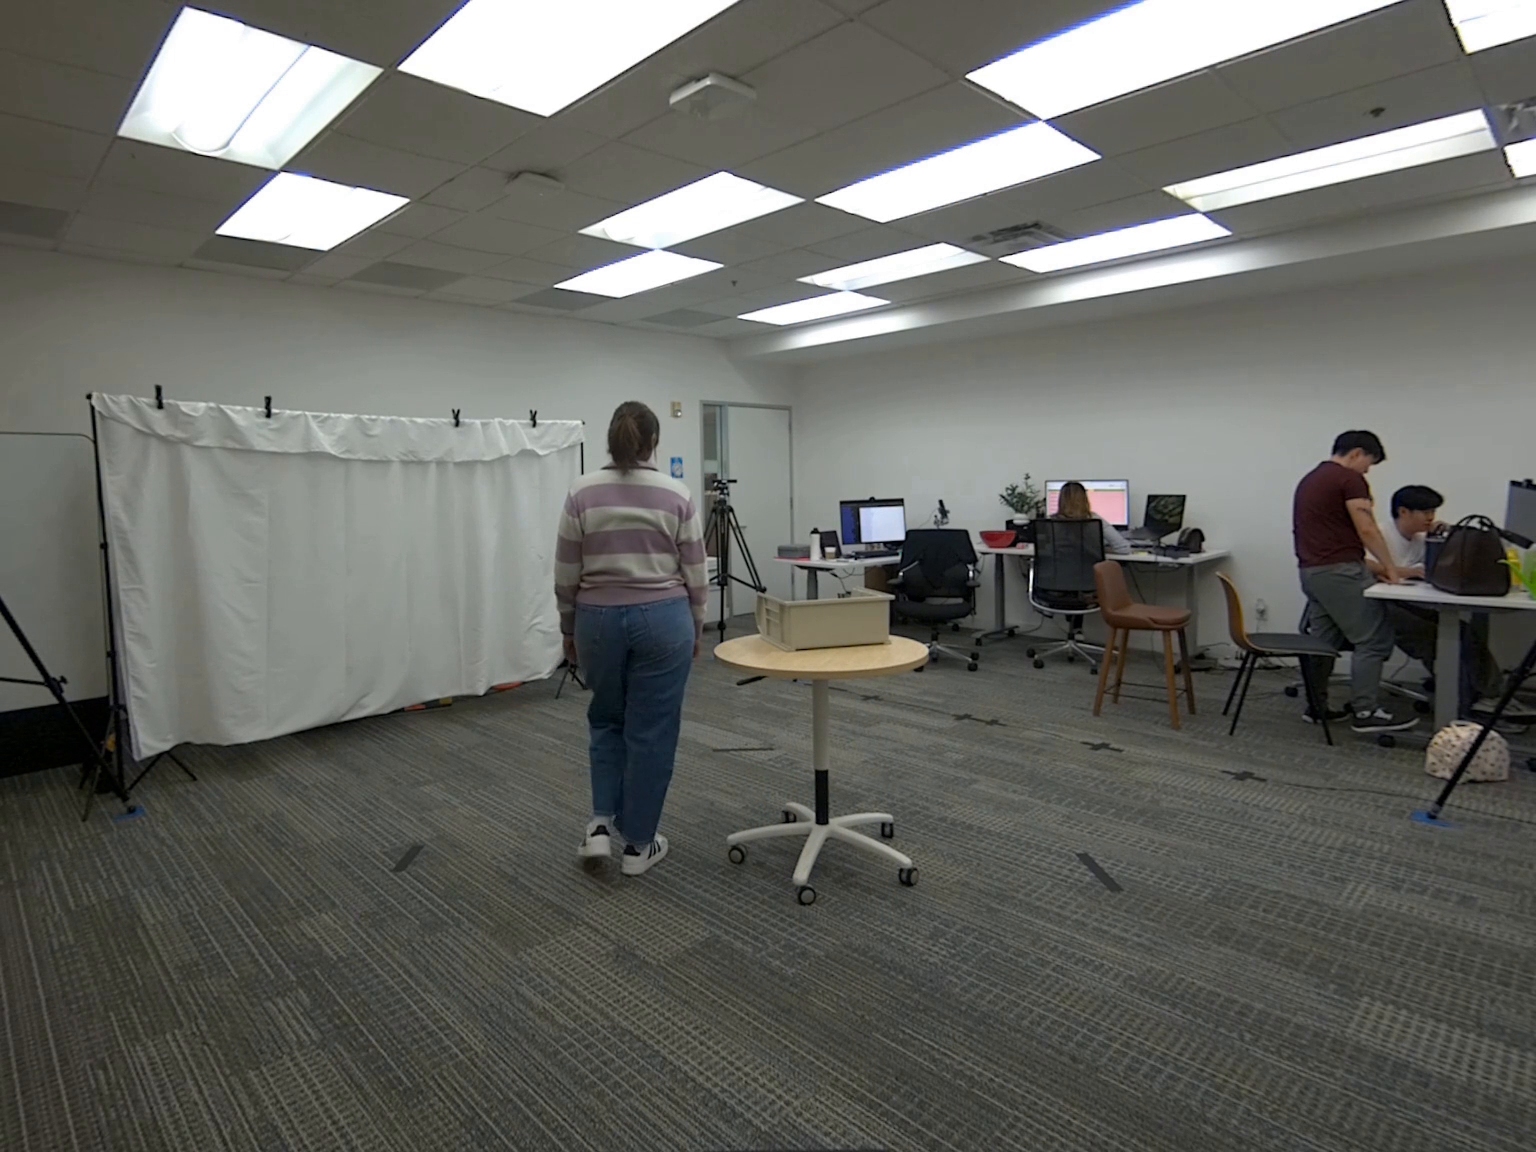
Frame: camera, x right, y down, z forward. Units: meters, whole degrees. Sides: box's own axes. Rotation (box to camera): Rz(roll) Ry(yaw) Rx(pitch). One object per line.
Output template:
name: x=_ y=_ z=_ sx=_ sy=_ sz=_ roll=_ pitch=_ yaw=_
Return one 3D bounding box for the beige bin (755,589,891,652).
beige bin: x=0.205 y=0.156 z=3.247 sx=0.416 sy=0.188 sz=0.384 roll=-2 pitch=6 yaw=-16
